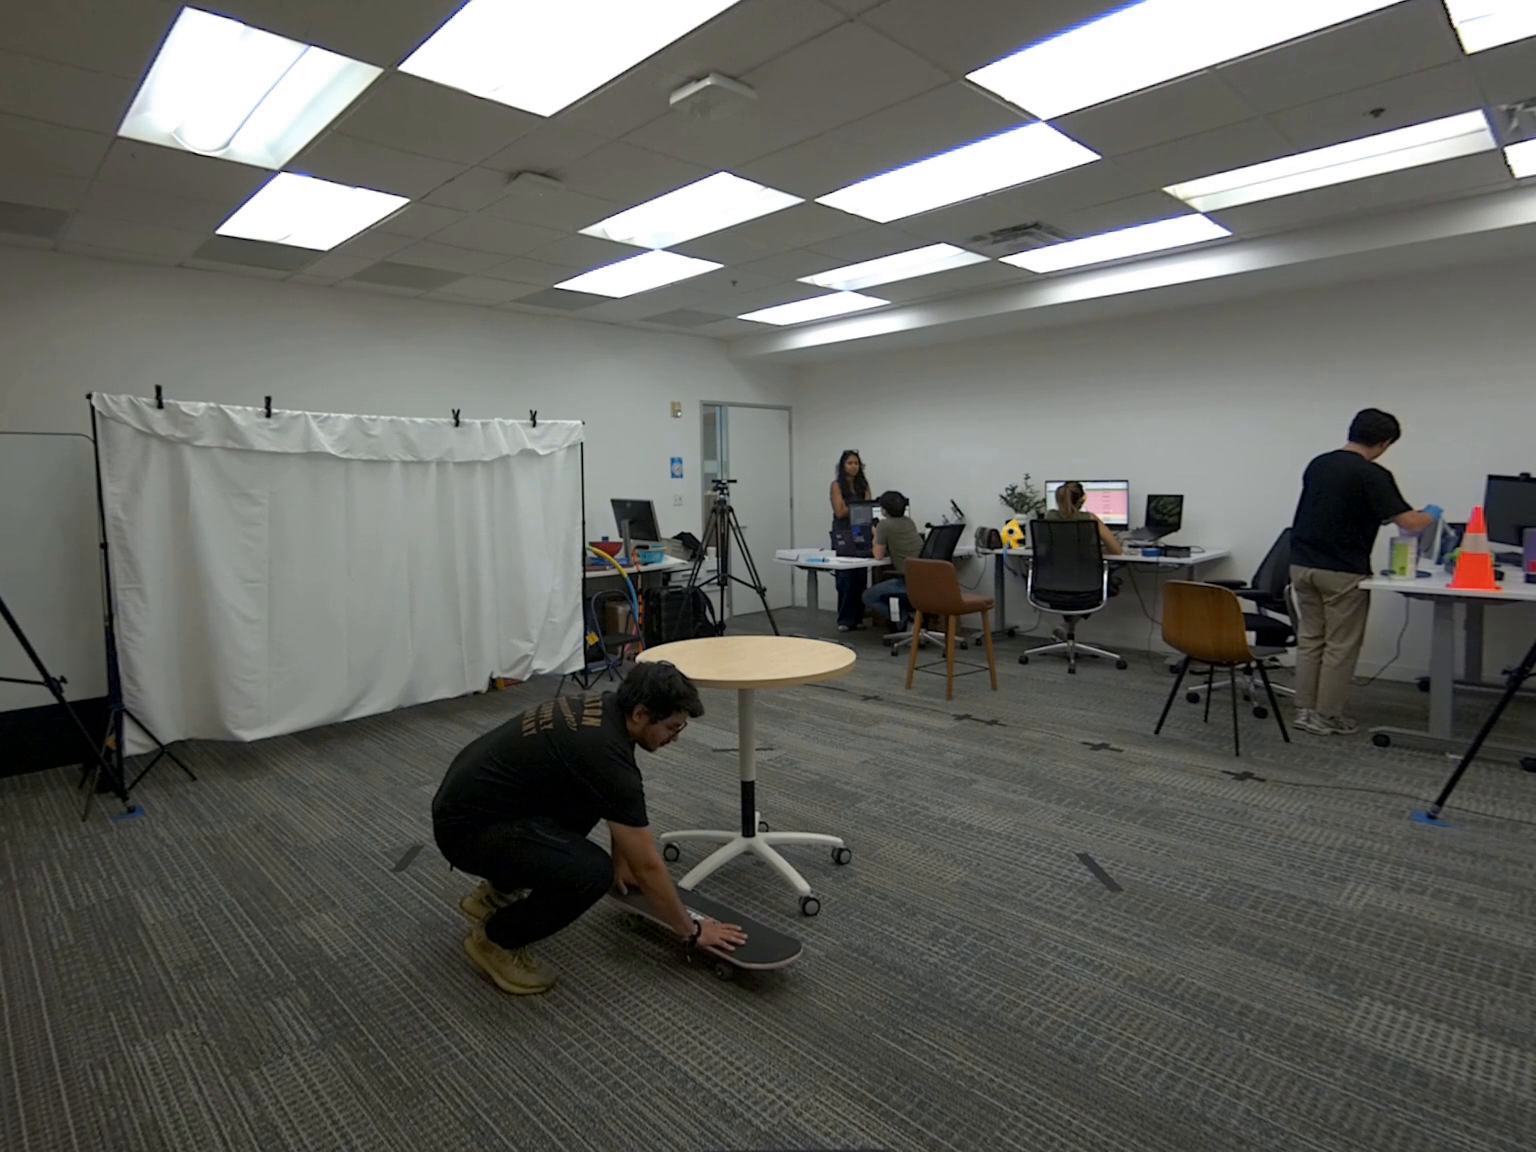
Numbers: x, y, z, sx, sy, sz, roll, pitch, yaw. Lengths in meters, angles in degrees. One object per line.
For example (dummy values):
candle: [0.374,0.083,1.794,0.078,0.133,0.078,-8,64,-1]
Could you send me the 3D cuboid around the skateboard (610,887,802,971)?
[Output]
skateboard: [-0.213,1.043,2.596,0.810,0.110,0.188,5,9,42]
